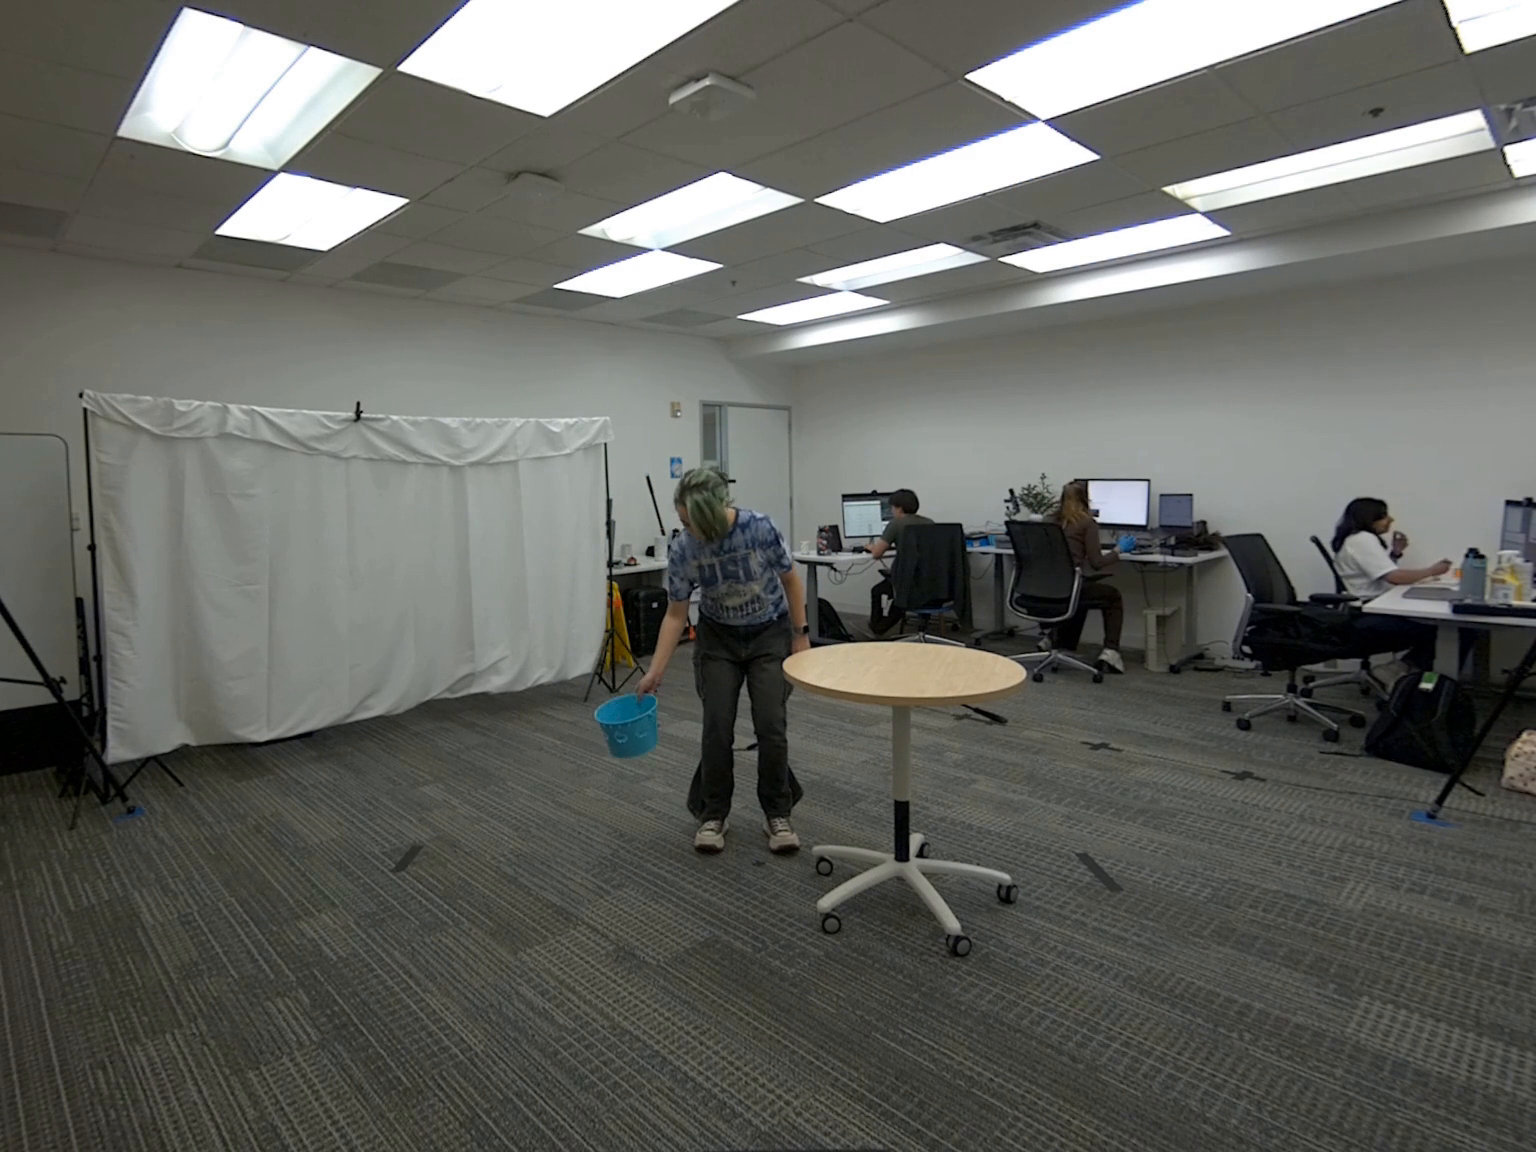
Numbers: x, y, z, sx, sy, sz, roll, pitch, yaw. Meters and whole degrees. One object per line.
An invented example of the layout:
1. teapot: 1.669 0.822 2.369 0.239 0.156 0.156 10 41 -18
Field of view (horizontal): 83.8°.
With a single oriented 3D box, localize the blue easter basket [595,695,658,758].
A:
1. blue easter basket: -0.495 0.545 3.092 0.244 0.154 0.246 -9 13 0
